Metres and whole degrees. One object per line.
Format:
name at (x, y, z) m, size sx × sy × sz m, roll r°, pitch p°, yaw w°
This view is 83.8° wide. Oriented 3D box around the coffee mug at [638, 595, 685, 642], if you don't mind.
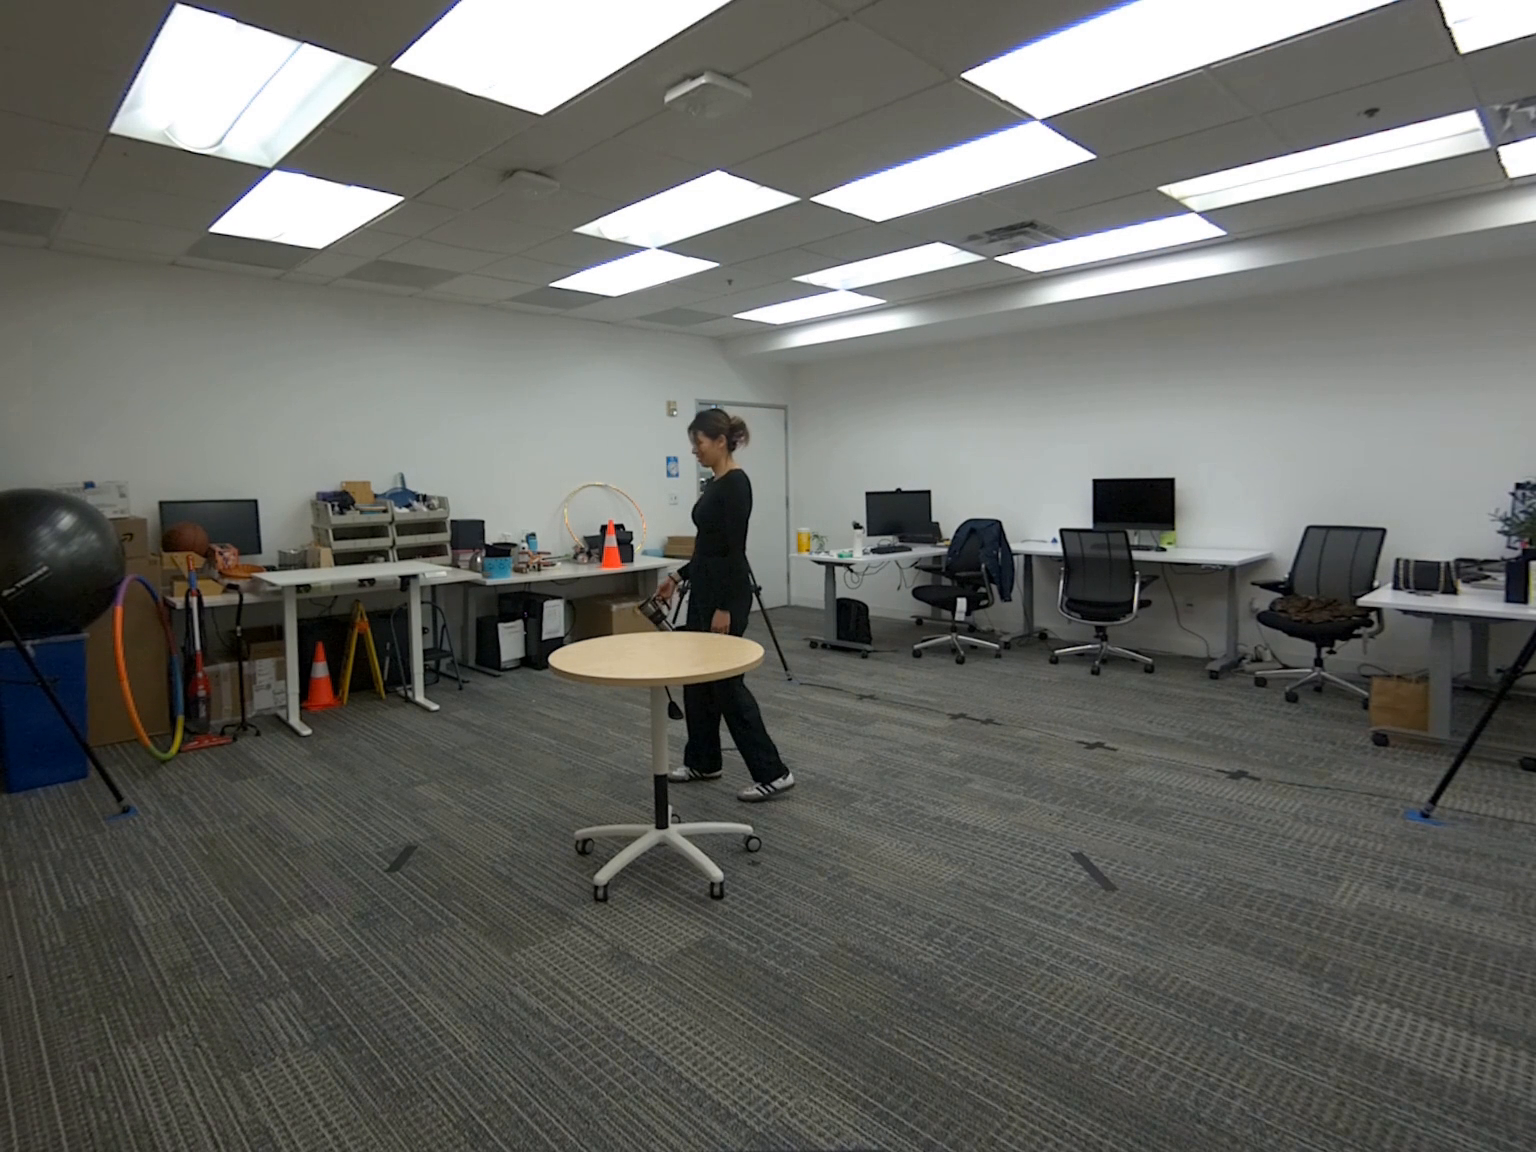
coffee mug at (-0.501, 0.192, 4.050) m, size 0.087 × 0.202 × 0.123 m, roll -39°, pitch 4°, yaw -27°
